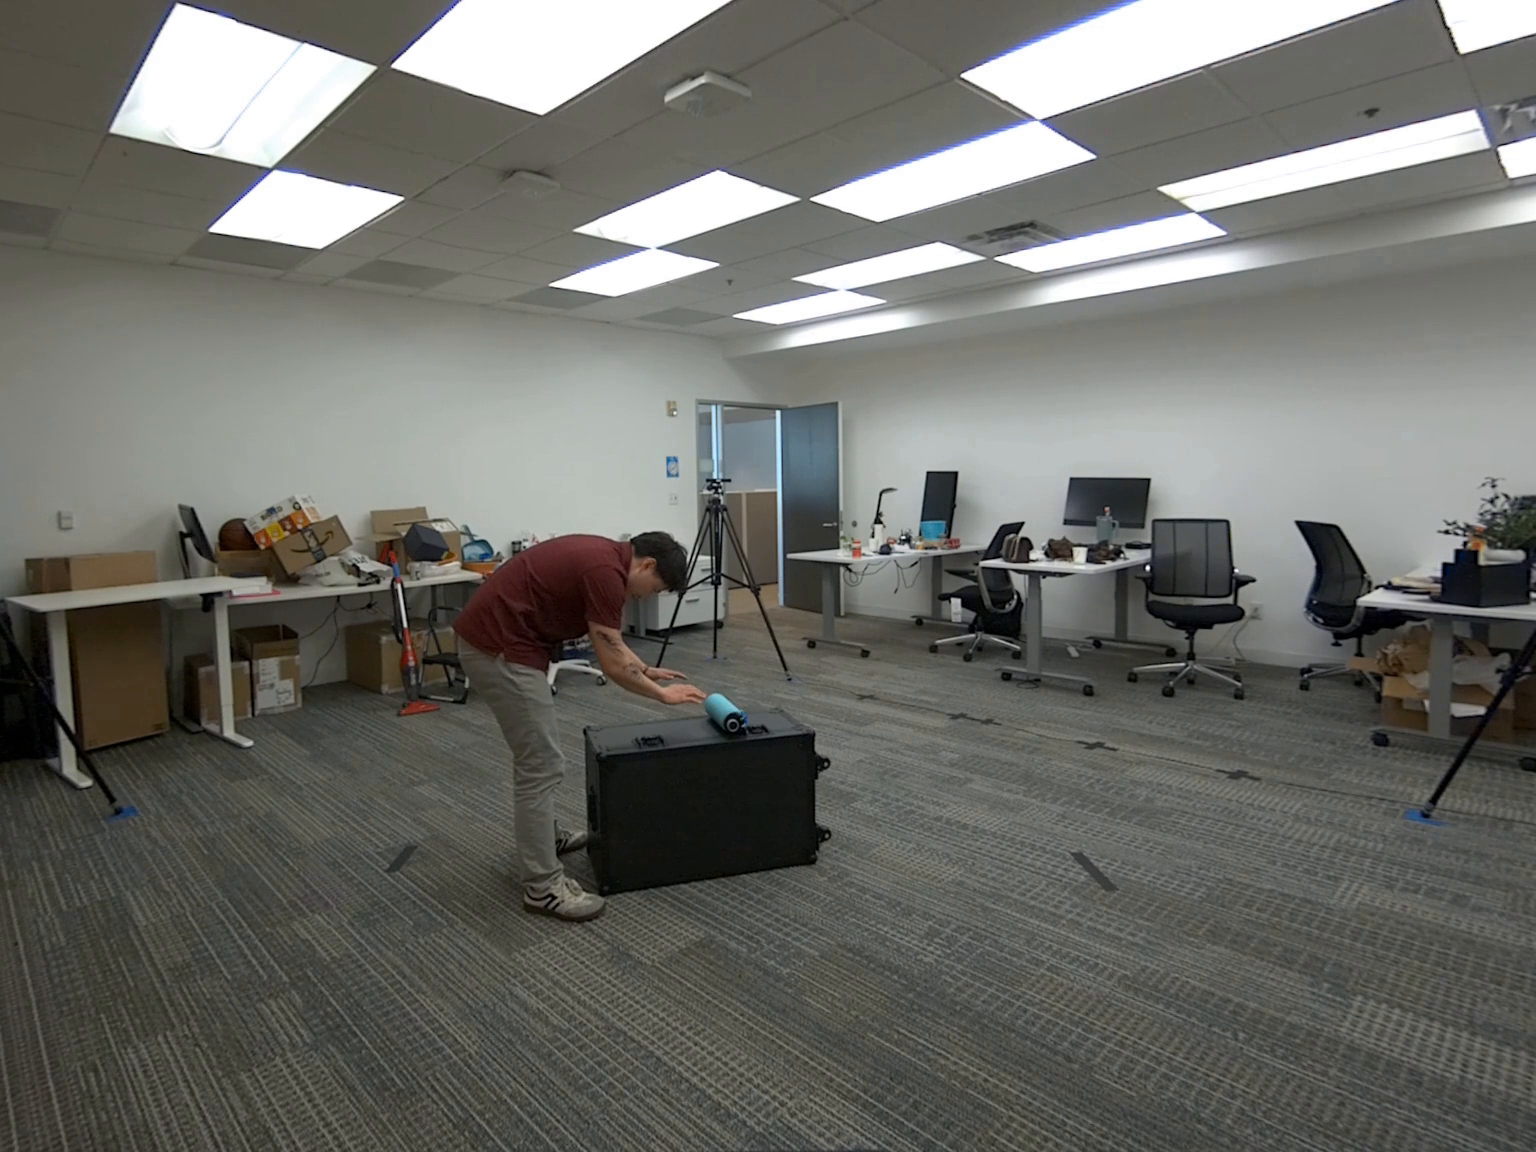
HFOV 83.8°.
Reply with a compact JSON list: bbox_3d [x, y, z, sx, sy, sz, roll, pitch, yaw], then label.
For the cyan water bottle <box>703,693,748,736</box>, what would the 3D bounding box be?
[{"bbox_3d":[-0.165,0.509,3.155,0.091,0.092,0.288,-2,7,-14],"label":"cyan water bottle"}]
